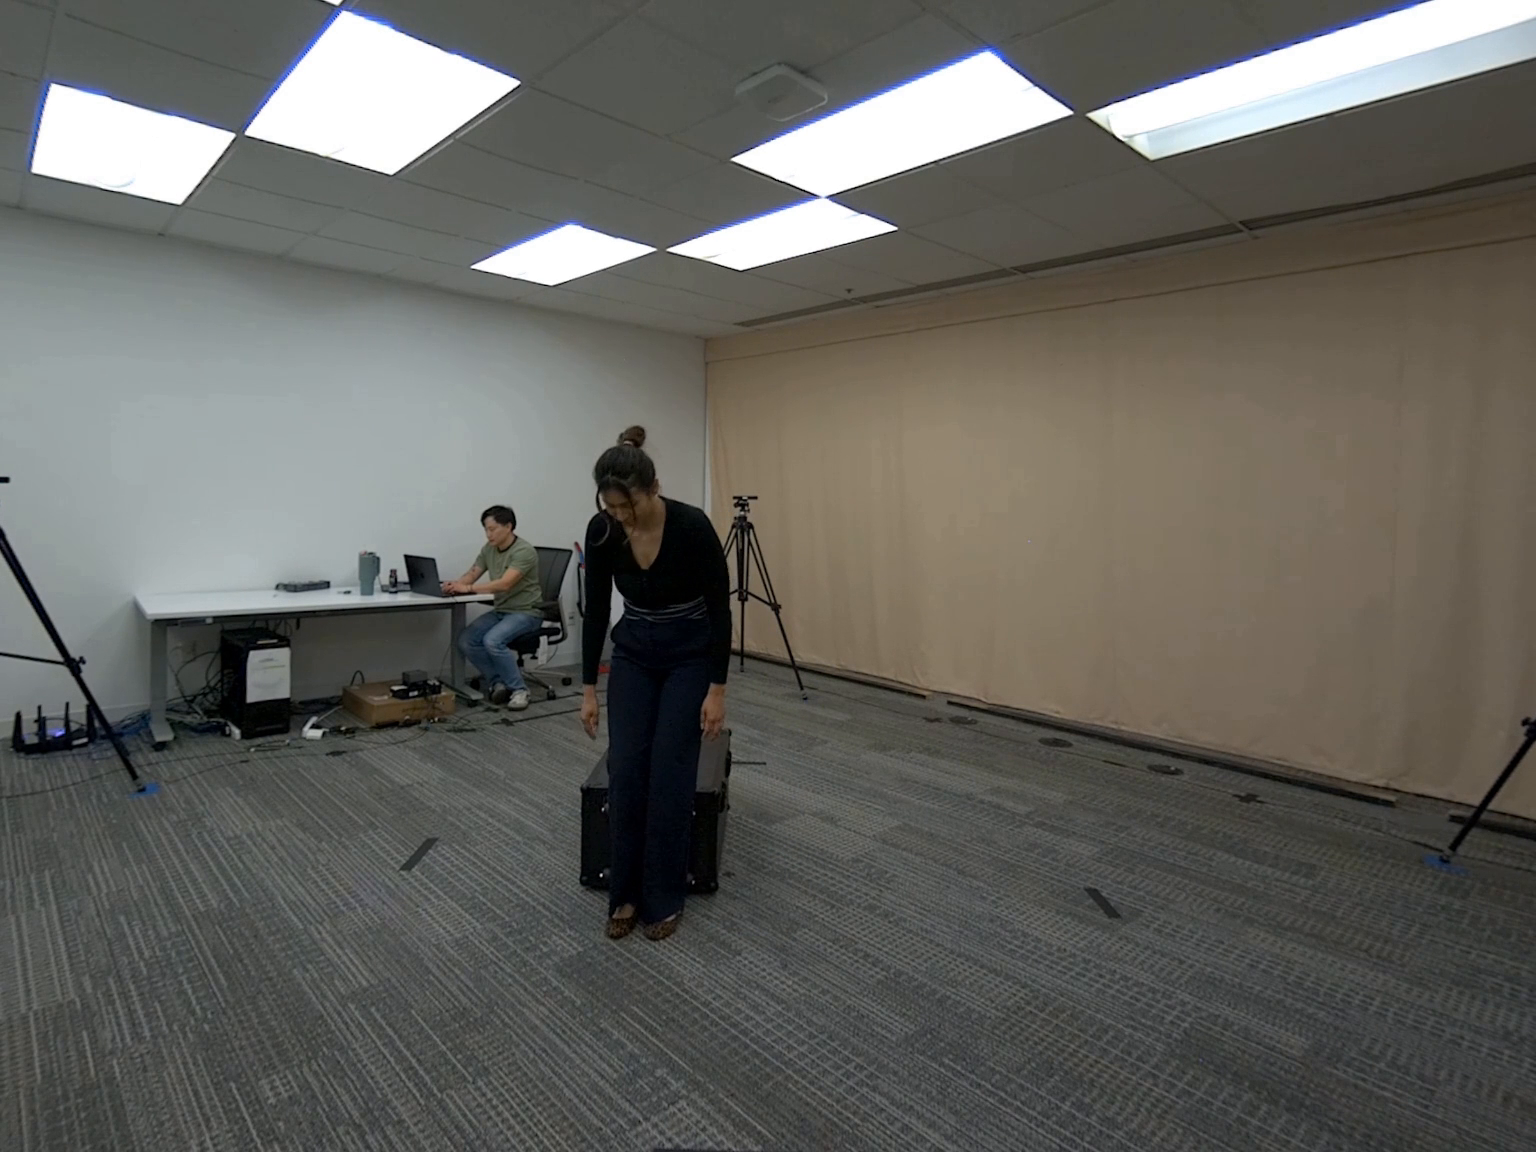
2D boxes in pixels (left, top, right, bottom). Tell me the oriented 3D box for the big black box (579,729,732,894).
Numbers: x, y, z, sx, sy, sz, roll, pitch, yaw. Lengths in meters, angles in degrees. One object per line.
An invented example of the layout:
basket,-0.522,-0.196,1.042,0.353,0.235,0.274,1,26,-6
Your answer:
big black box,-0.419,0.886,3.278,0.522,0.395,0.863,2,5,1
